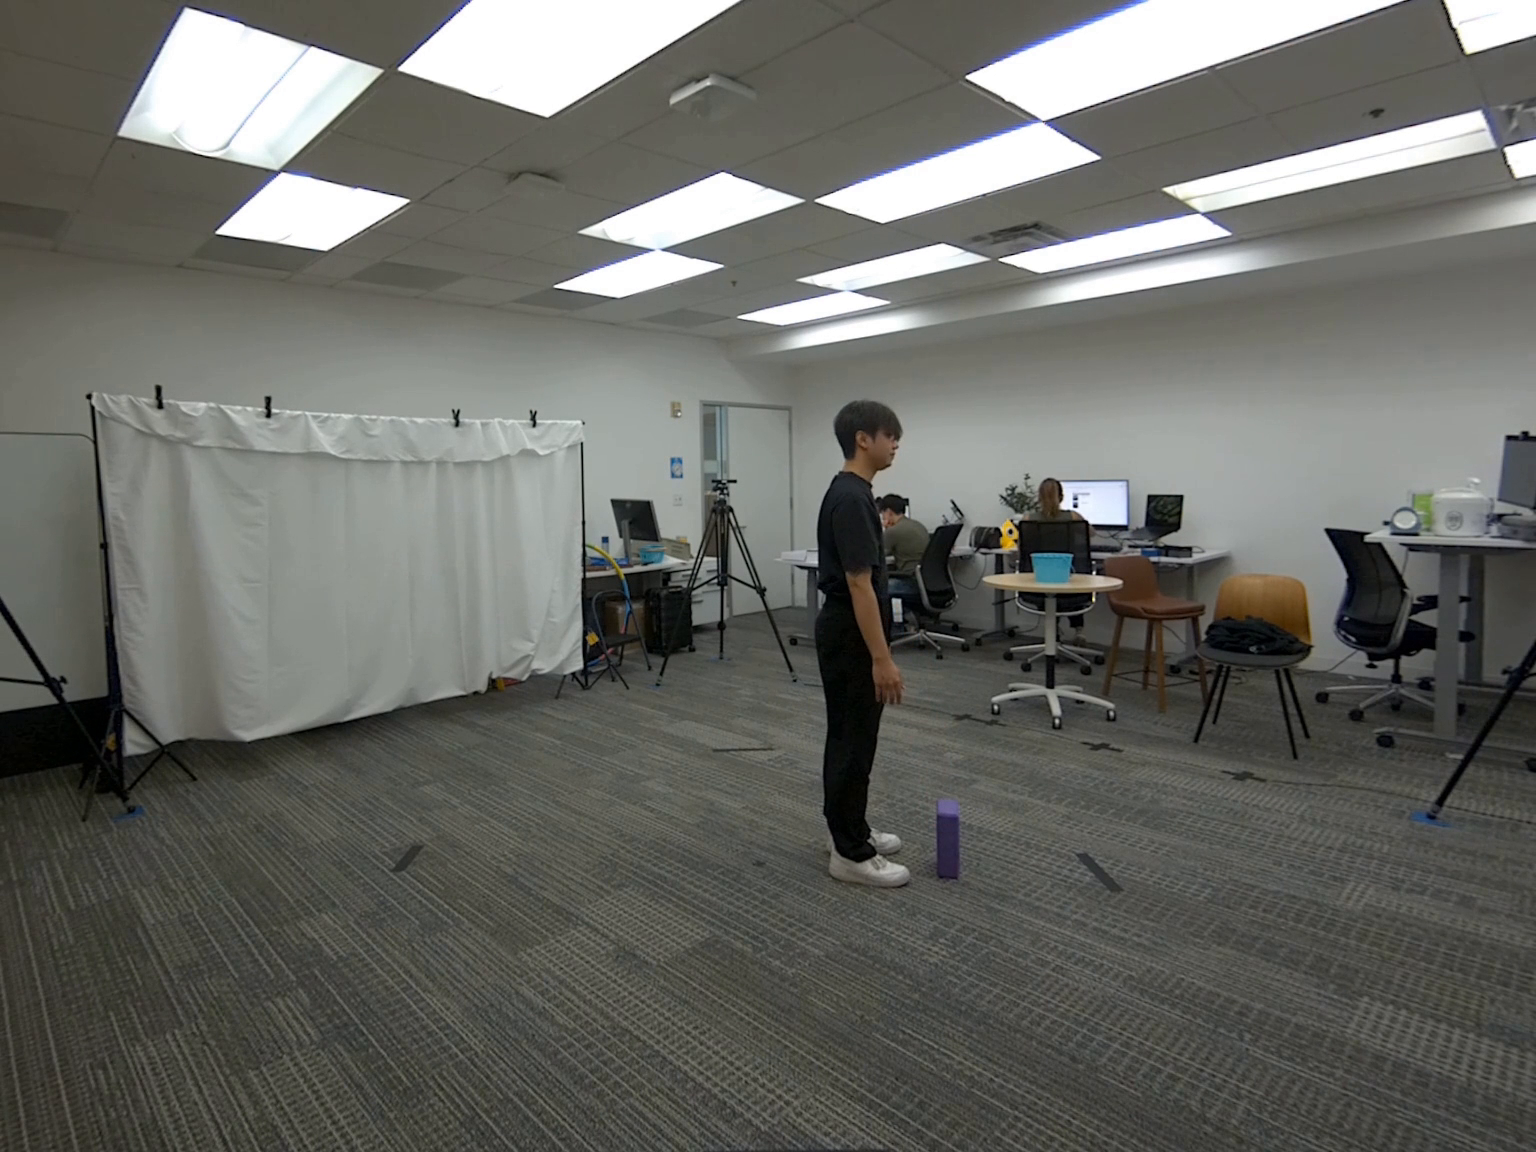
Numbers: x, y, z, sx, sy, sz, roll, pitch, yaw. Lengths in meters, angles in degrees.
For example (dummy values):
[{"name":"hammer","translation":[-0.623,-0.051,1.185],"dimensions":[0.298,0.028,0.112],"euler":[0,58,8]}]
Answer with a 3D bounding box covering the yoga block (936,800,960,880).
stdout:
[{"name":"yoga block","translation":[0.632,0.926,3.023],"dimensions":[0.077,0.228,0.148],"euler":[1,4,10]}]
